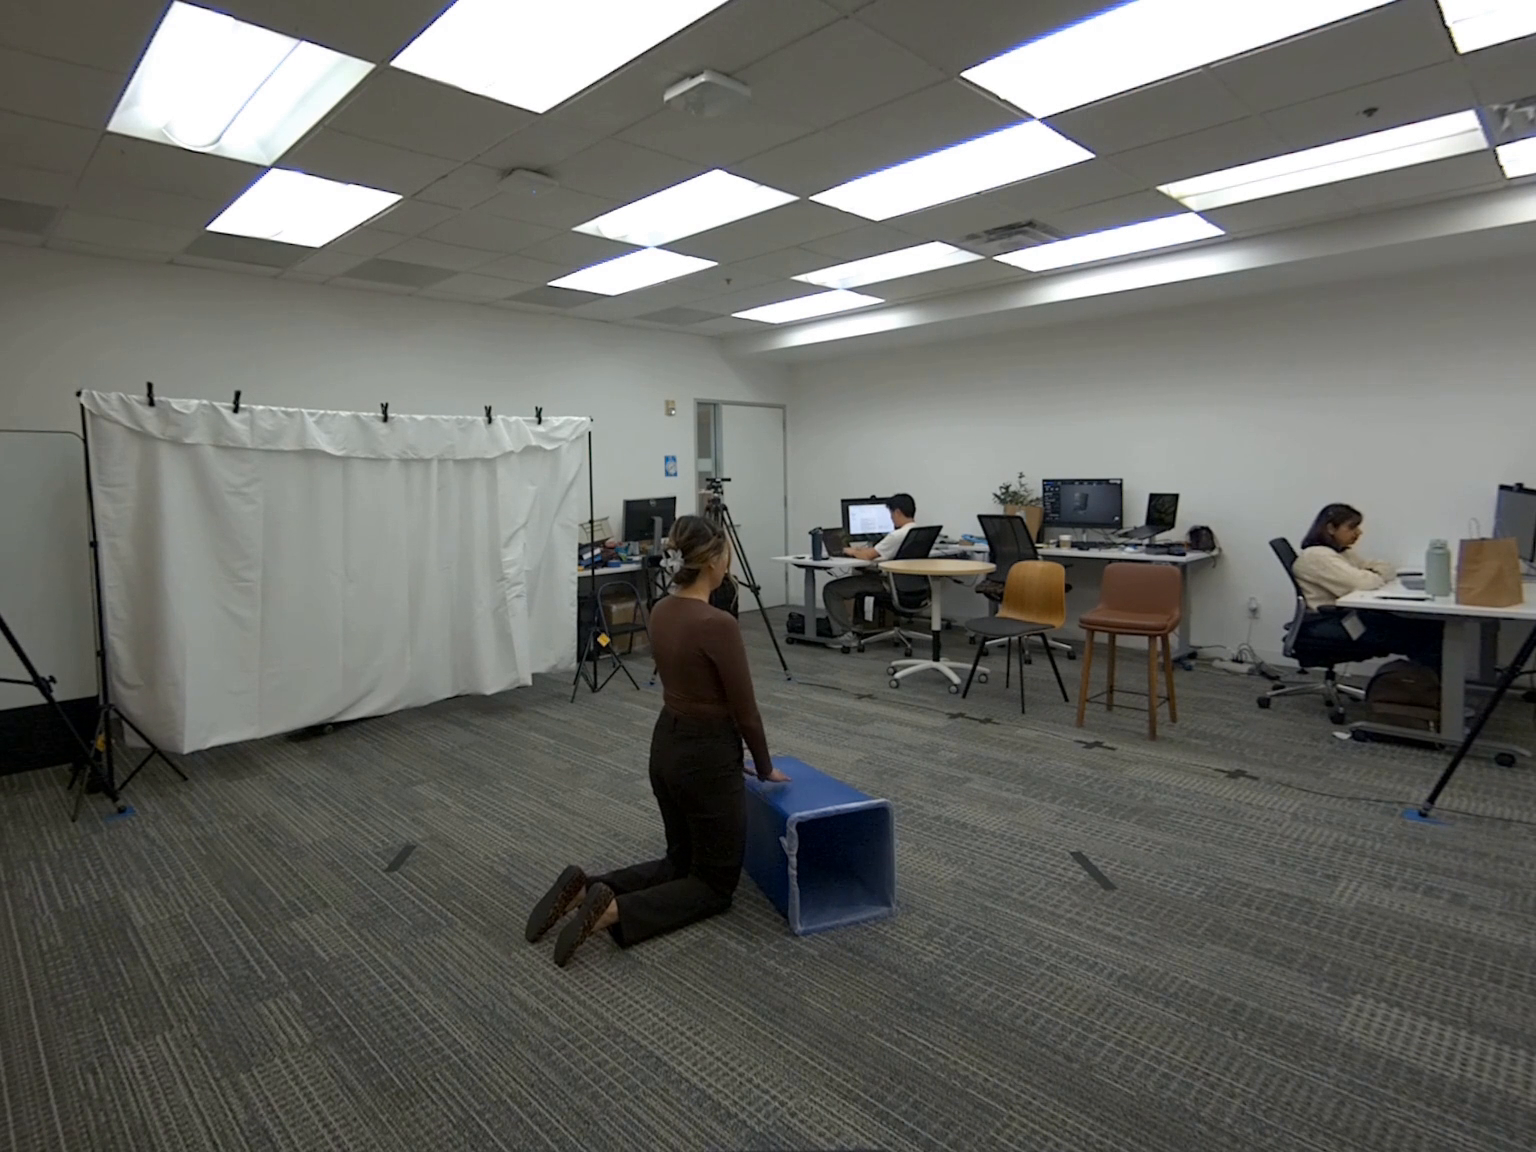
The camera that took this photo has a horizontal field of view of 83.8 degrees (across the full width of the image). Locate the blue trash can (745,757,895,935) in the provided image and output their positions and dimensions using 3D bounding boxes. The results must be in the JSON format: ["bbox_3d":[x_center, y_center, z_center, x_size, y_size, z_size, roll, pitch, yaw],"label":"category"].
[{"bbox_3d":[0.105,0.879,2.990,0.367,0.377,0.728,-4,5,-21],"label":"blue trash can"}]
